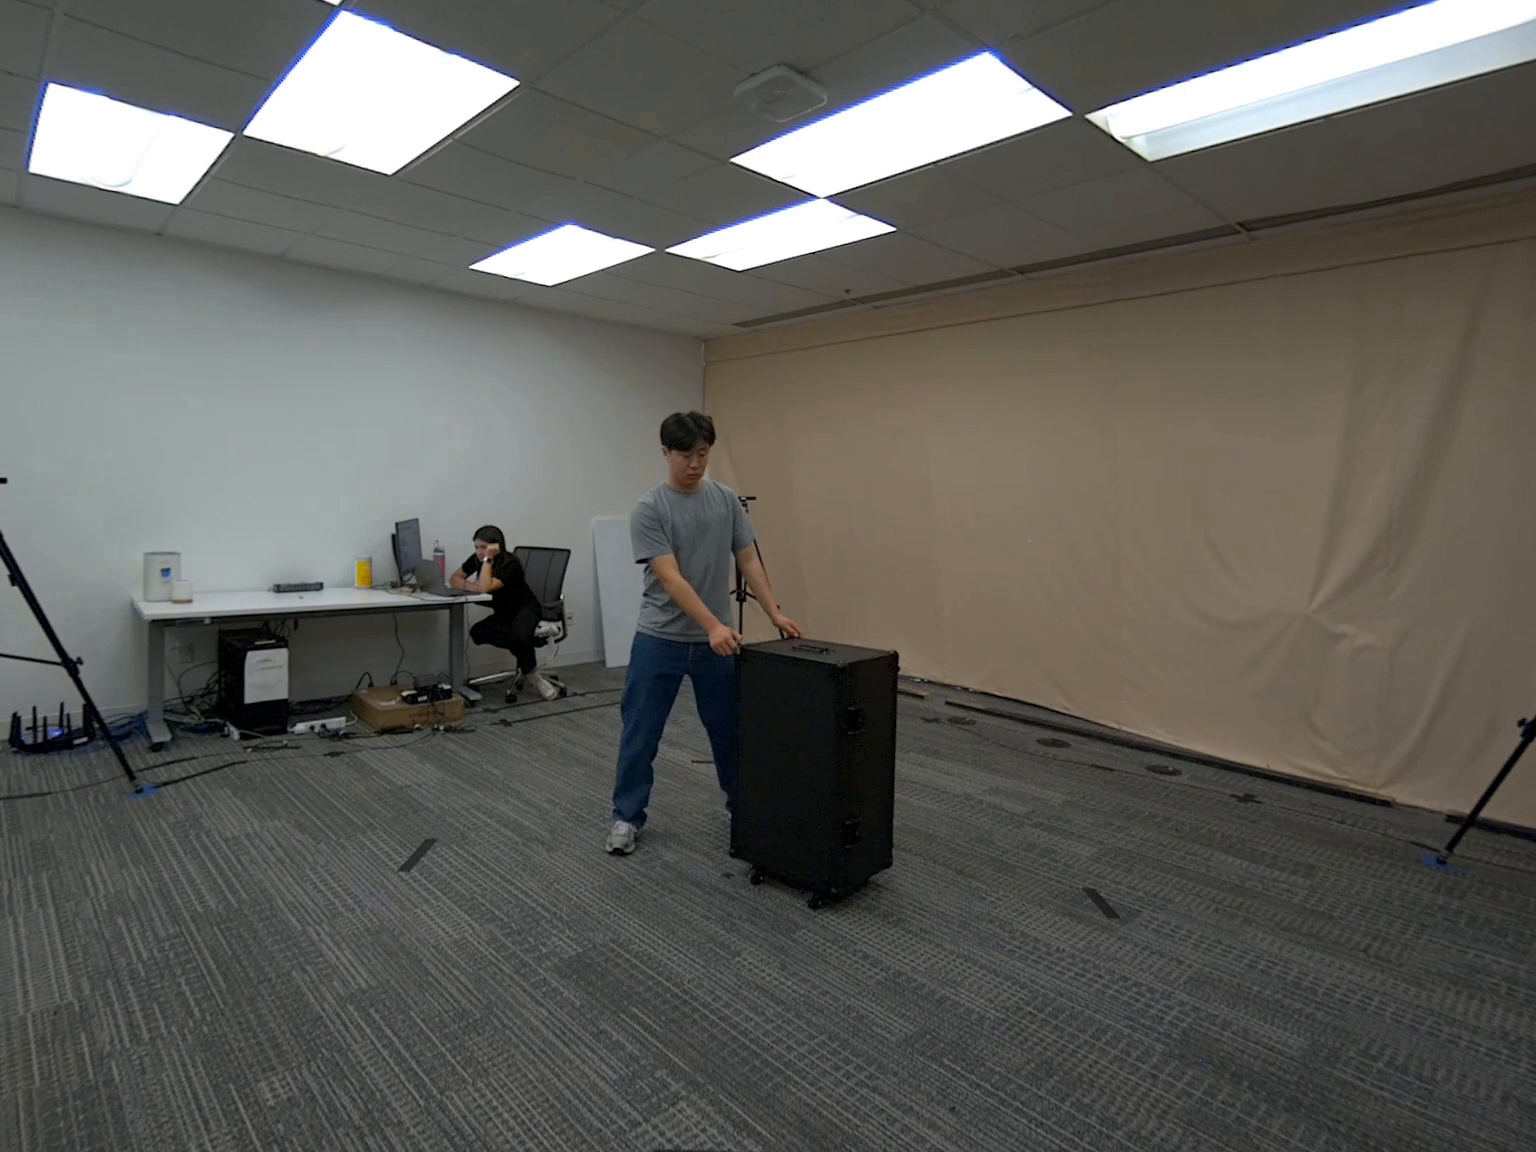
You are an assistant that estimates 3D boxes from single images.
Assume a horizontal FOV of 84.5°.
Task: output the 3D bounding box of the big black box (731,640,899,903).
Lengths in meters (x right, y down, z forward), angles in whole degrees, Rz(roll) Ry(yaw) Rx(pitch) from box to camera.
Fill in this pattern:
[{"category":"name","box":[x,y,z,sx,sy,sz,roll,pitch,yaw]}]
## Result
[{"category":"big black box","box":[0.161,0.693,3.067,0.534,0.860,0.387,4,3,40]}]
